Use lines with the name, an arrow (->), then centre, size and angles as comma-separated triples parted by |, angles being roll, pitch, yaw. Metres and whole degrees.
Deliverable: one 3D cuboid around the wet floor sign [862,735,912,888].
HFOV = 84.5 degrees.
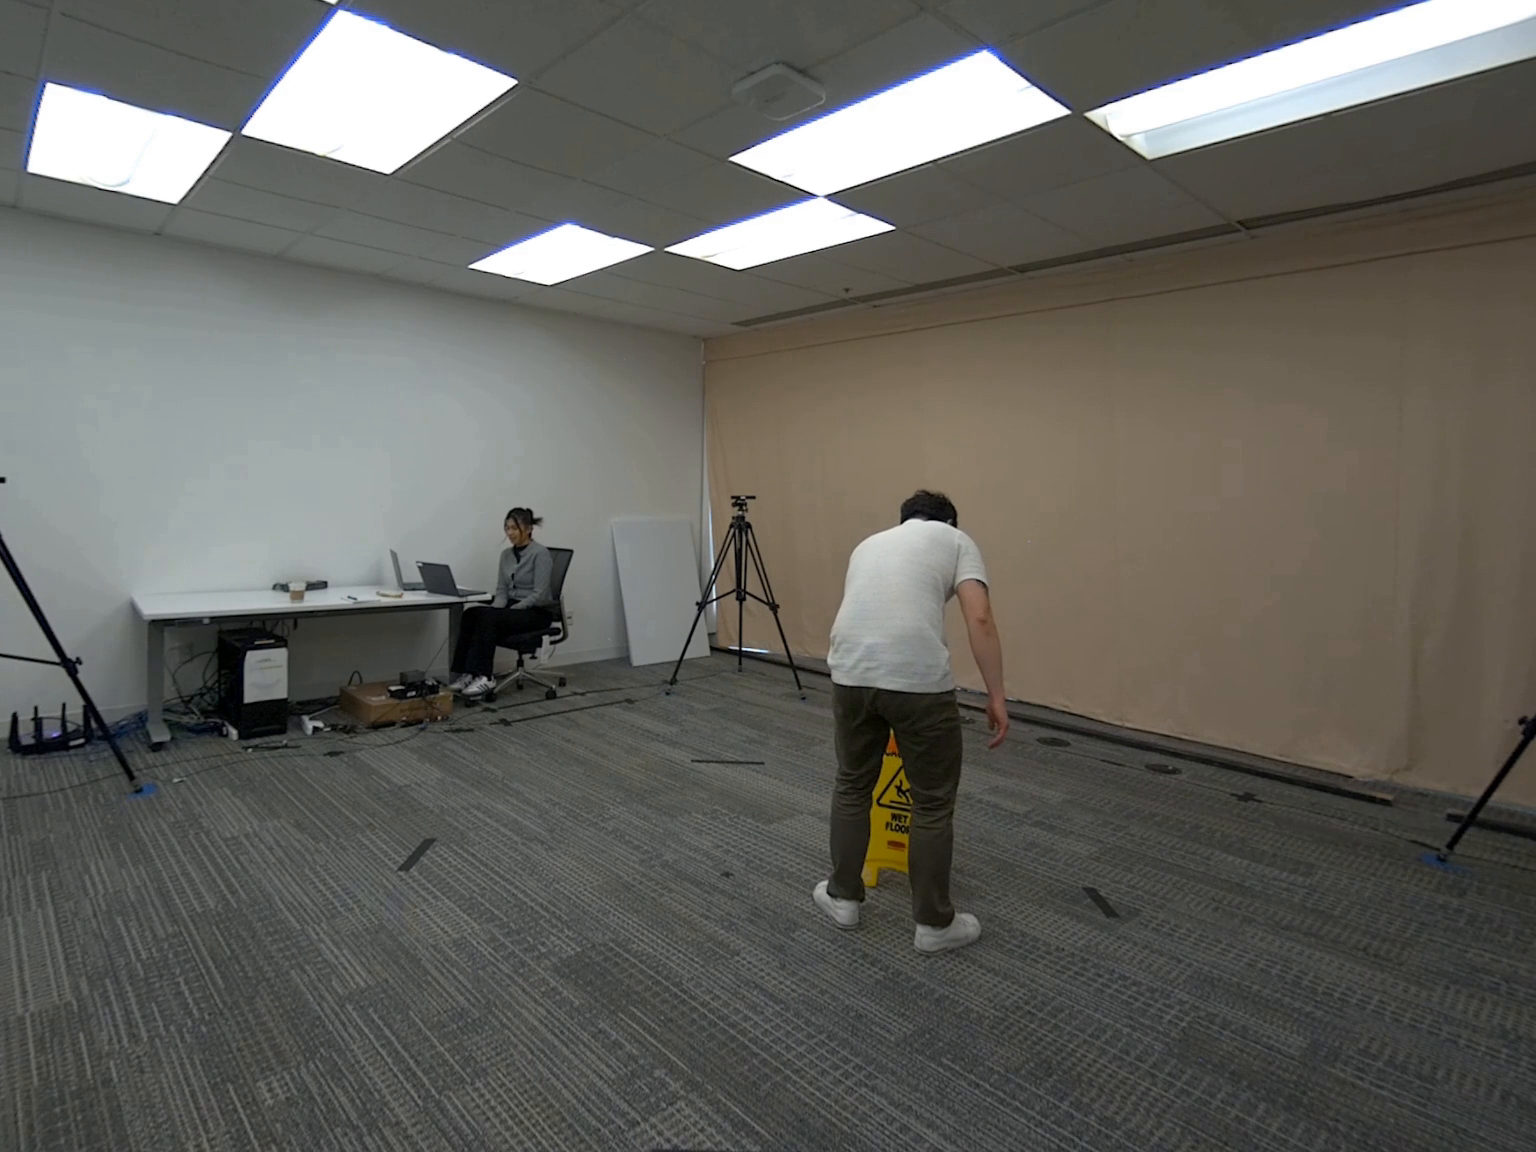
wet floor sign -> 0.503, 0.795, 3.117 | 0.287, 0.645, 0.285 | 3, 2, 24
